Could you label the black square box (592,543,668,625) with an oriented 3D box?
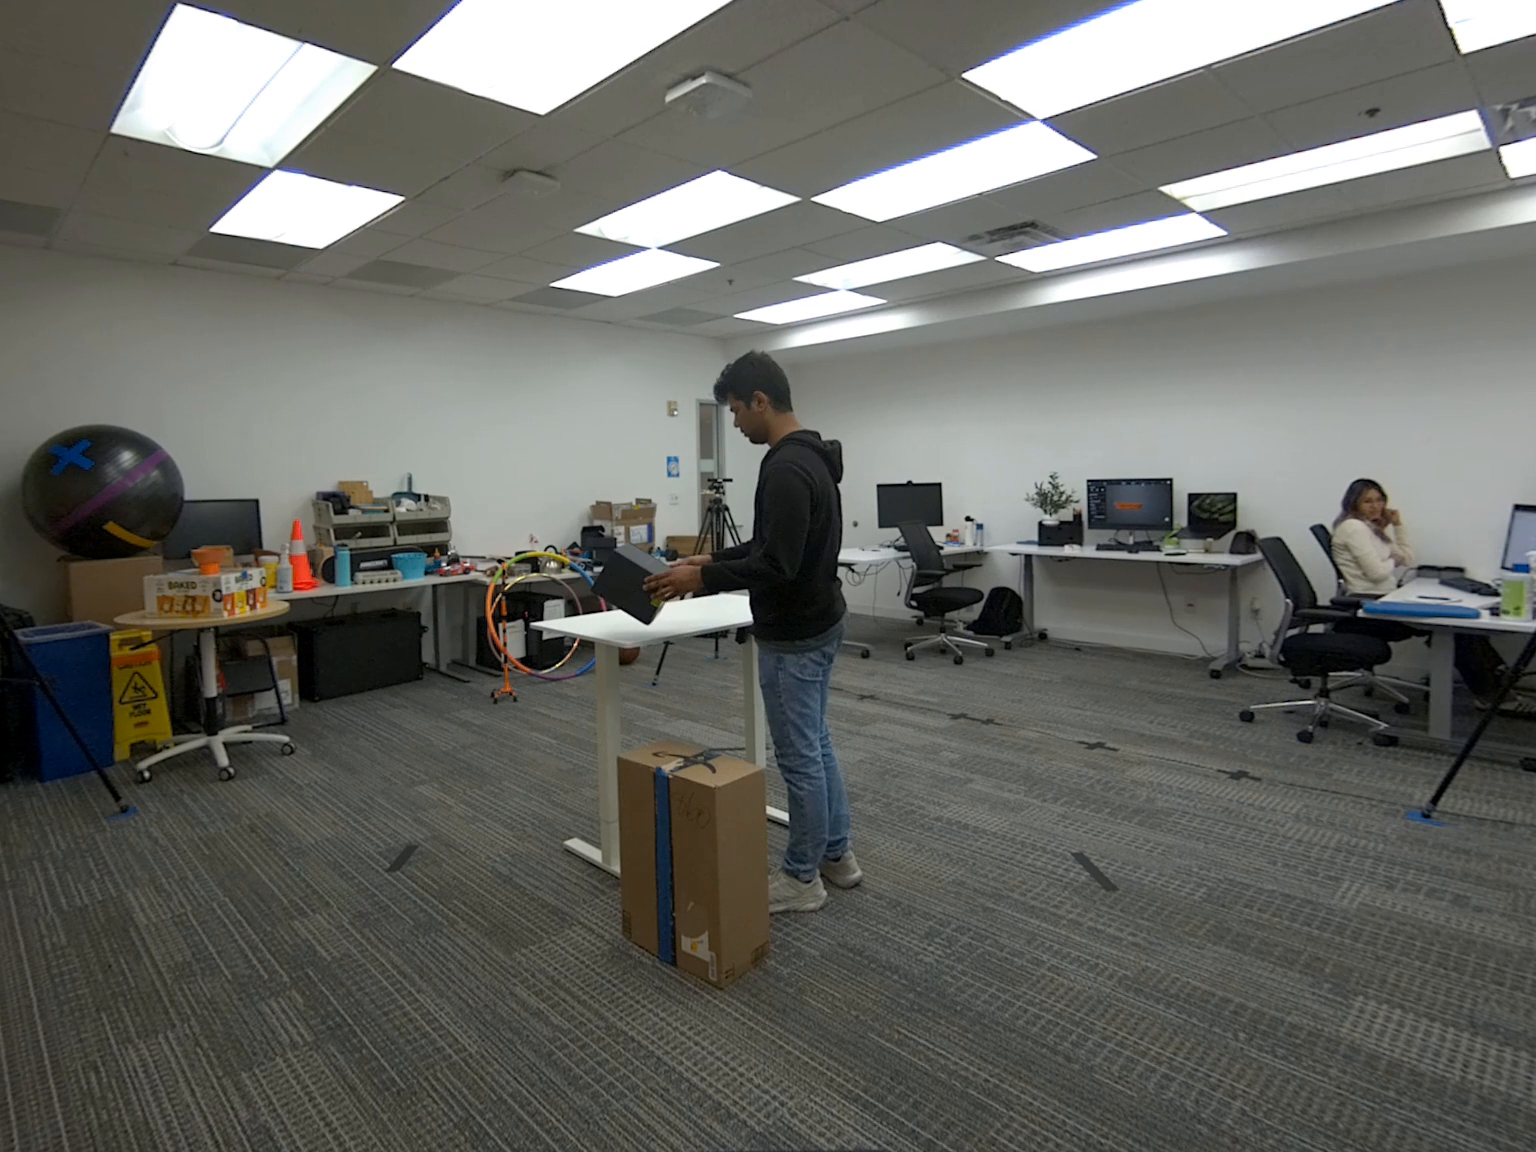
[{"bbox_3d":[-0.416,0.026,2.790,0.217,0.155,0.228,32,11,1],"label":"black square box"}]
